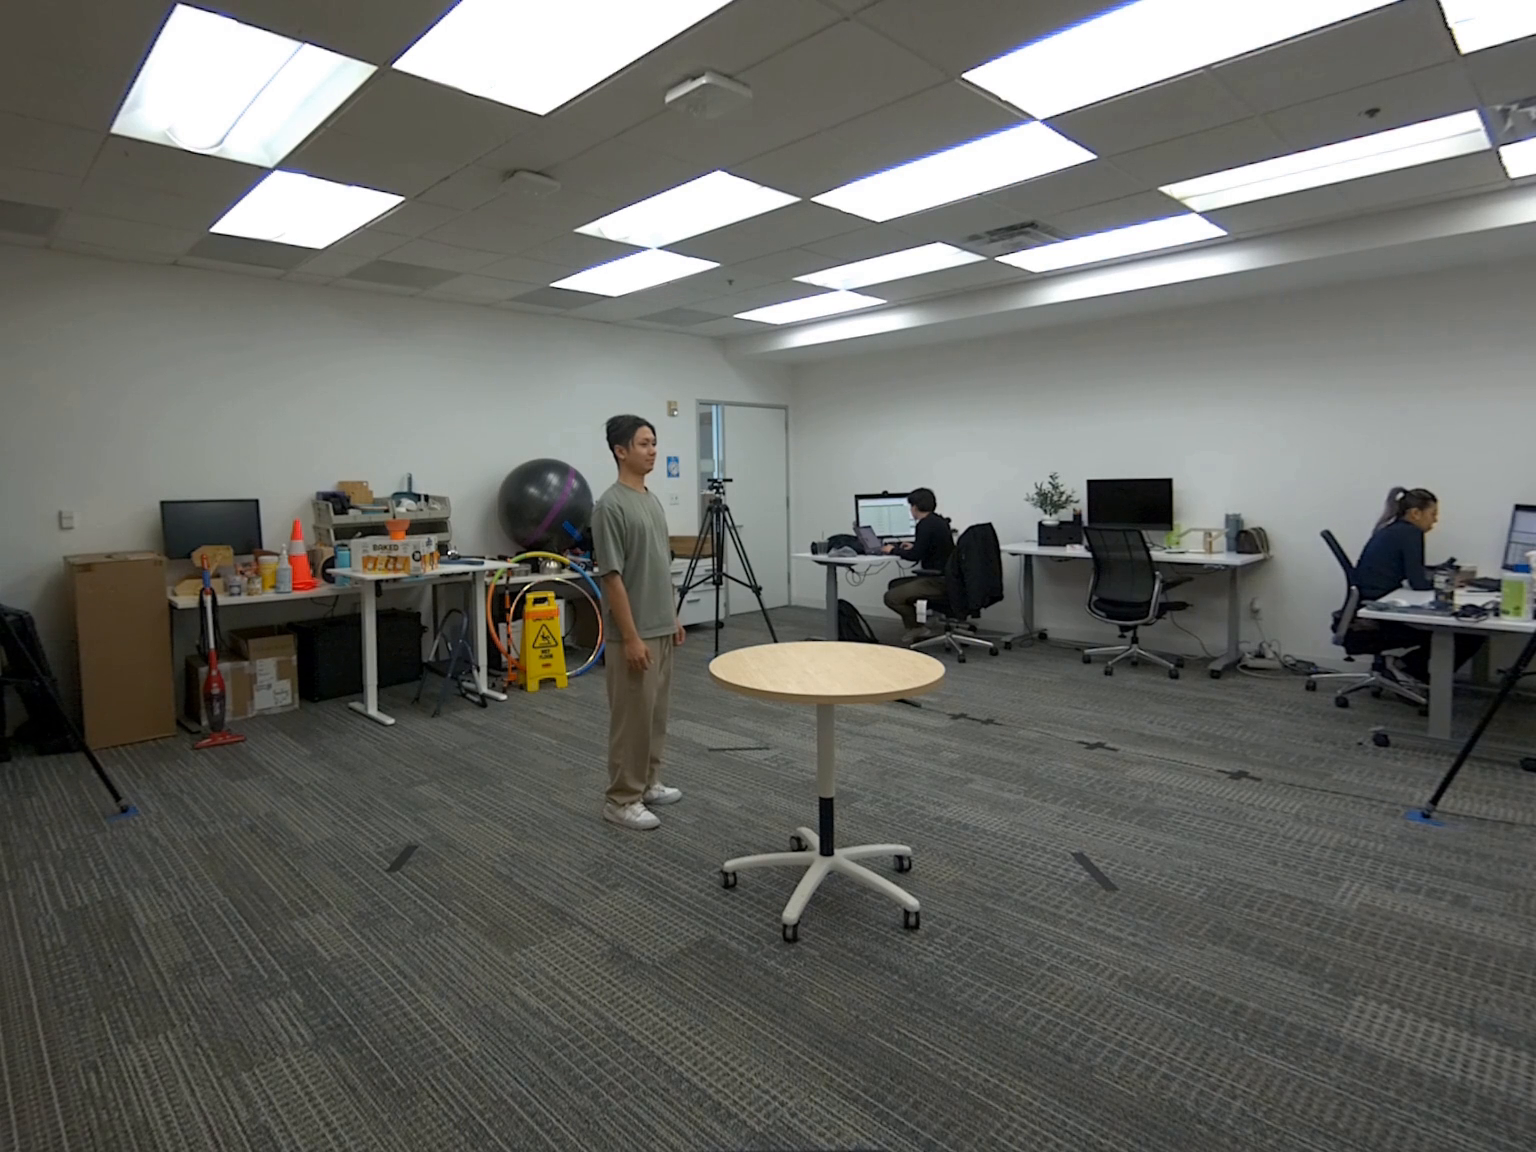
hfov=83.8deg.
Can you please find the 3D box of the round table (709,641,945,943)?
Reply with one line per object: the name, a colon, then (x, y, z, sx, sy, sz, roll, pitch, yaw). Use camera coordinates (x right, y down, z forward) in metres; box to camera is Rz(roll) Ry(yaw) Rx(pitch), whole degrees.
round table: (0.187, 0.678, 2.835, 0.784, 0.783, 0.789, -1, 5, -2)
